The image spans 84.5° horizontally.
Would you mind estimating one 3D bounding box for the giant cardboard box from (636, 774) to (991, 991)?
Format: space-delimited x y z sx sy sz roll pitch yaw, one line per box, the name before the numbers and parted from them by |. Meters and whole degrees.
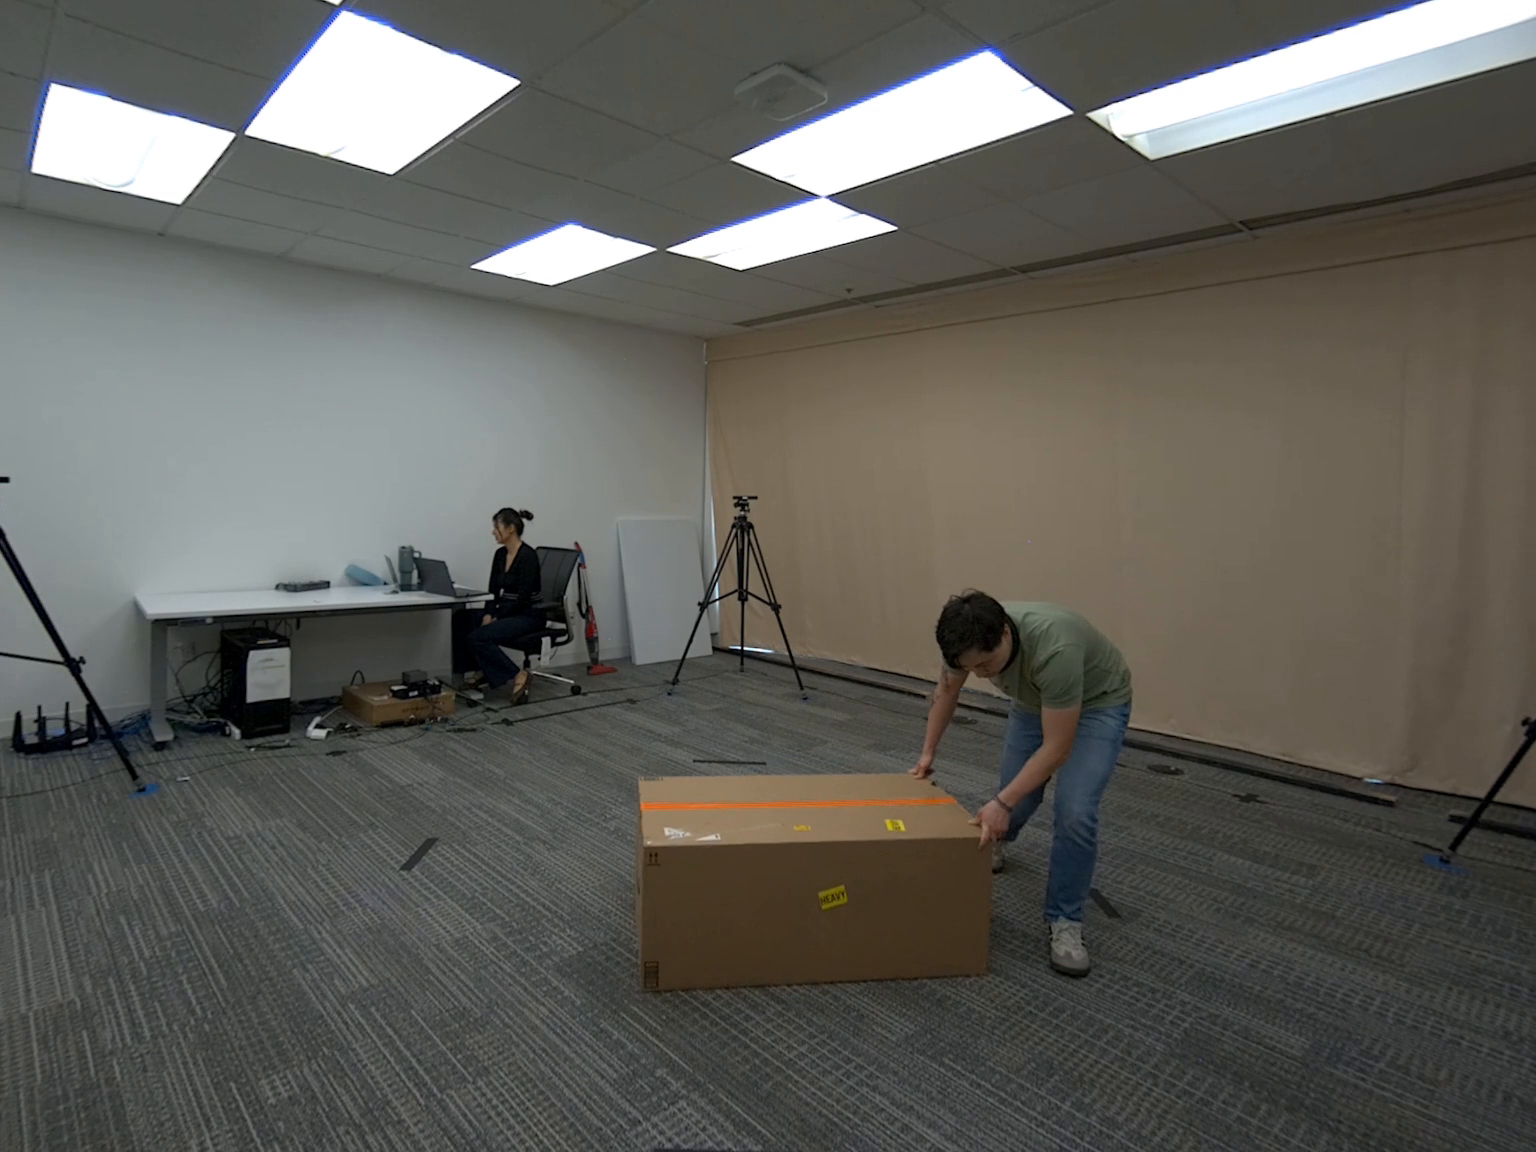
giant cardboard box | 0.094 0.932 2.685 1.019 0.425 0.583 1 5 -9
